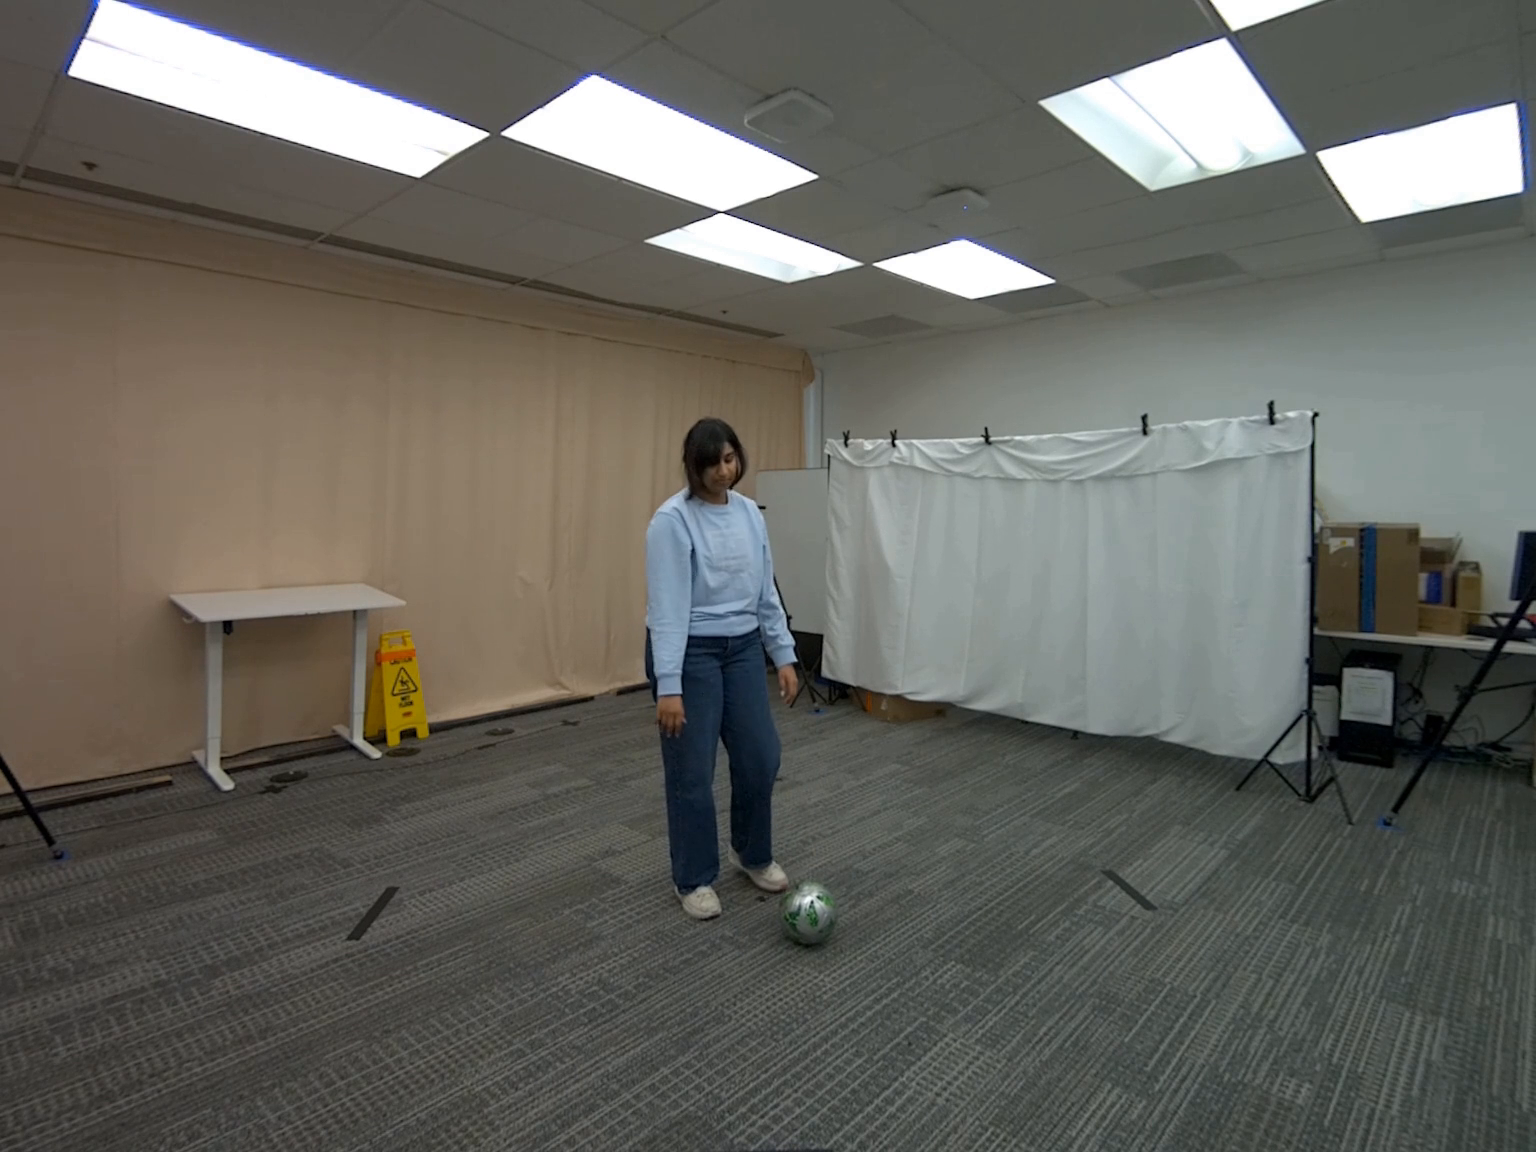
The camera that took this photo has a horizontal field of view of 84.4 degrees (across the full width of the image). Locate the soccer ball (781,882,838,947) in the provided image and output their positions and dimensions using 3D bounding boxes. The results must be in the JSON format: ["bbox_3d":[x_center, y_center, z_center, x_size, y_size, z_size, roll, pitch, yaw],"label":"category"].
[{"bbox_3d":[0.130,1.075,2.691,0.187,0.187,0.188,0,4,-2],"label":"soccer ball"}]
